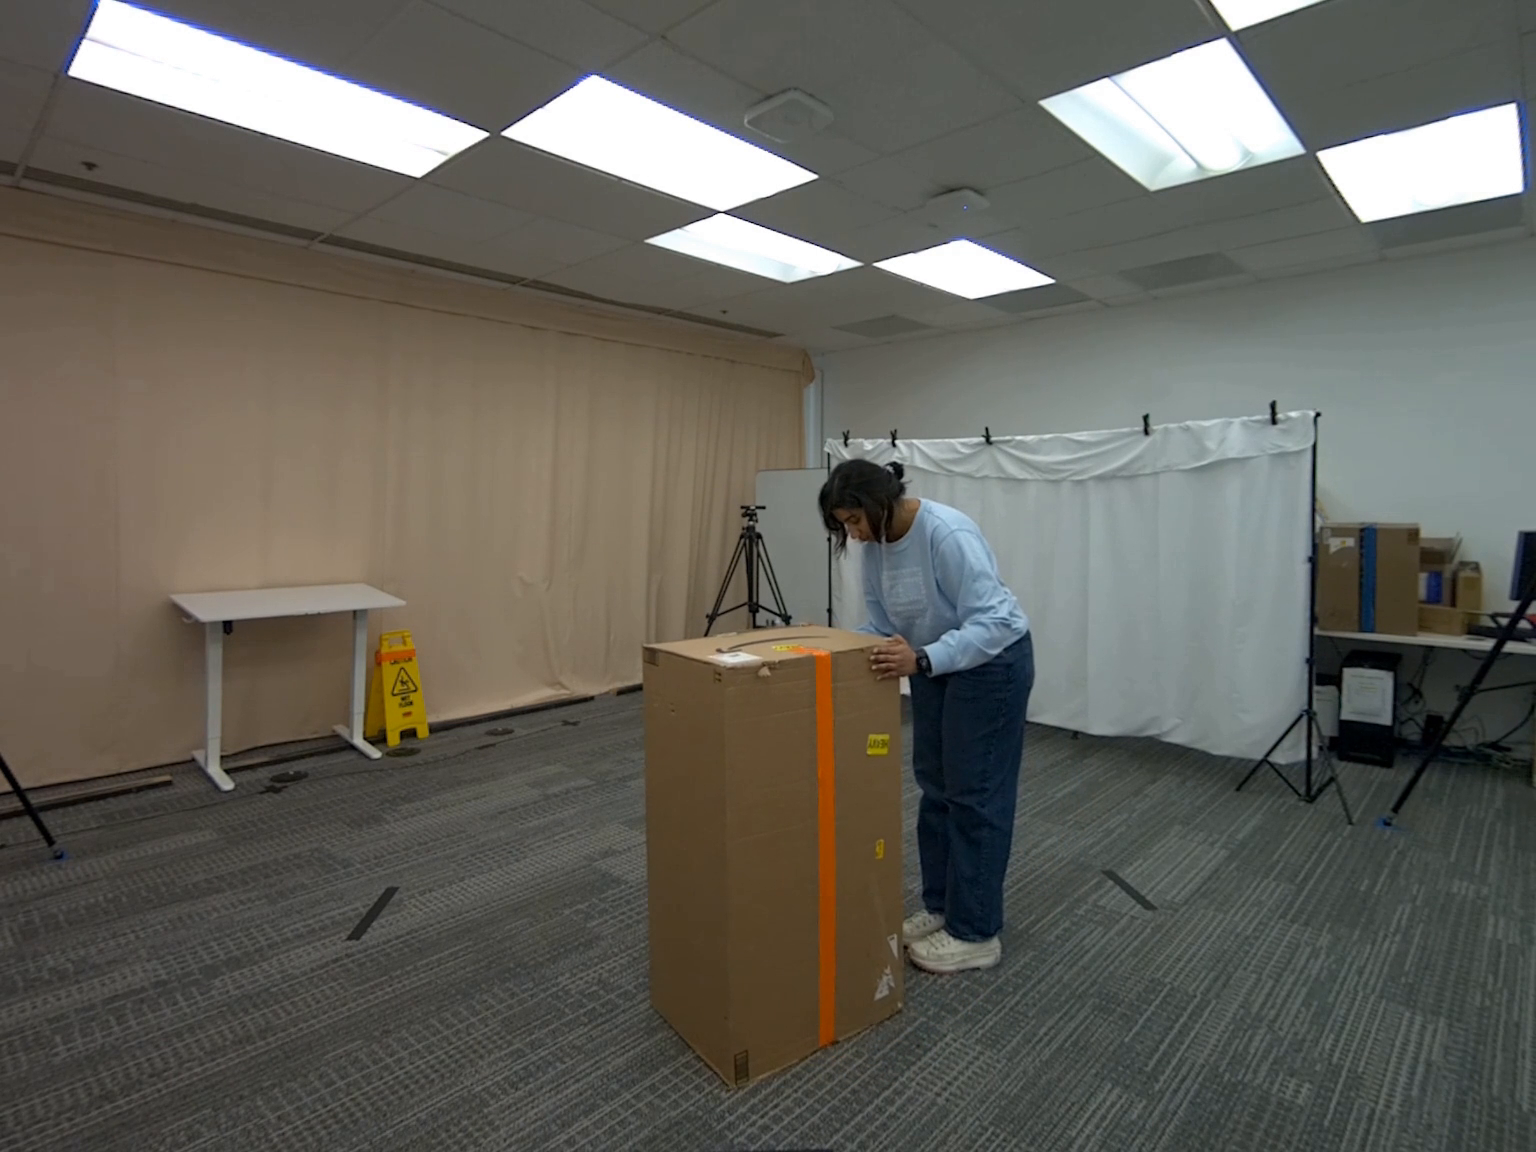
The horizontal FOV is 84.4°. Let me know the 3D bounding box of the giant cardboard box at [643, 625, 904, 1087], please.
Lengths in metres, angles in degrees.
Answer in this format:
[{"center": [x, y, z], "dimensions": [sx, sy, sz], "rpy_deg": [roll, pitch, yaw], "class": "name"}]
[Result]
[{"center": [0.016, 0.696, 2.308], "dimensions": [0.561, 1.024, 0.439], "rpy_deg": [-3, 4, -35], "class": "giant cardboard box"}]
